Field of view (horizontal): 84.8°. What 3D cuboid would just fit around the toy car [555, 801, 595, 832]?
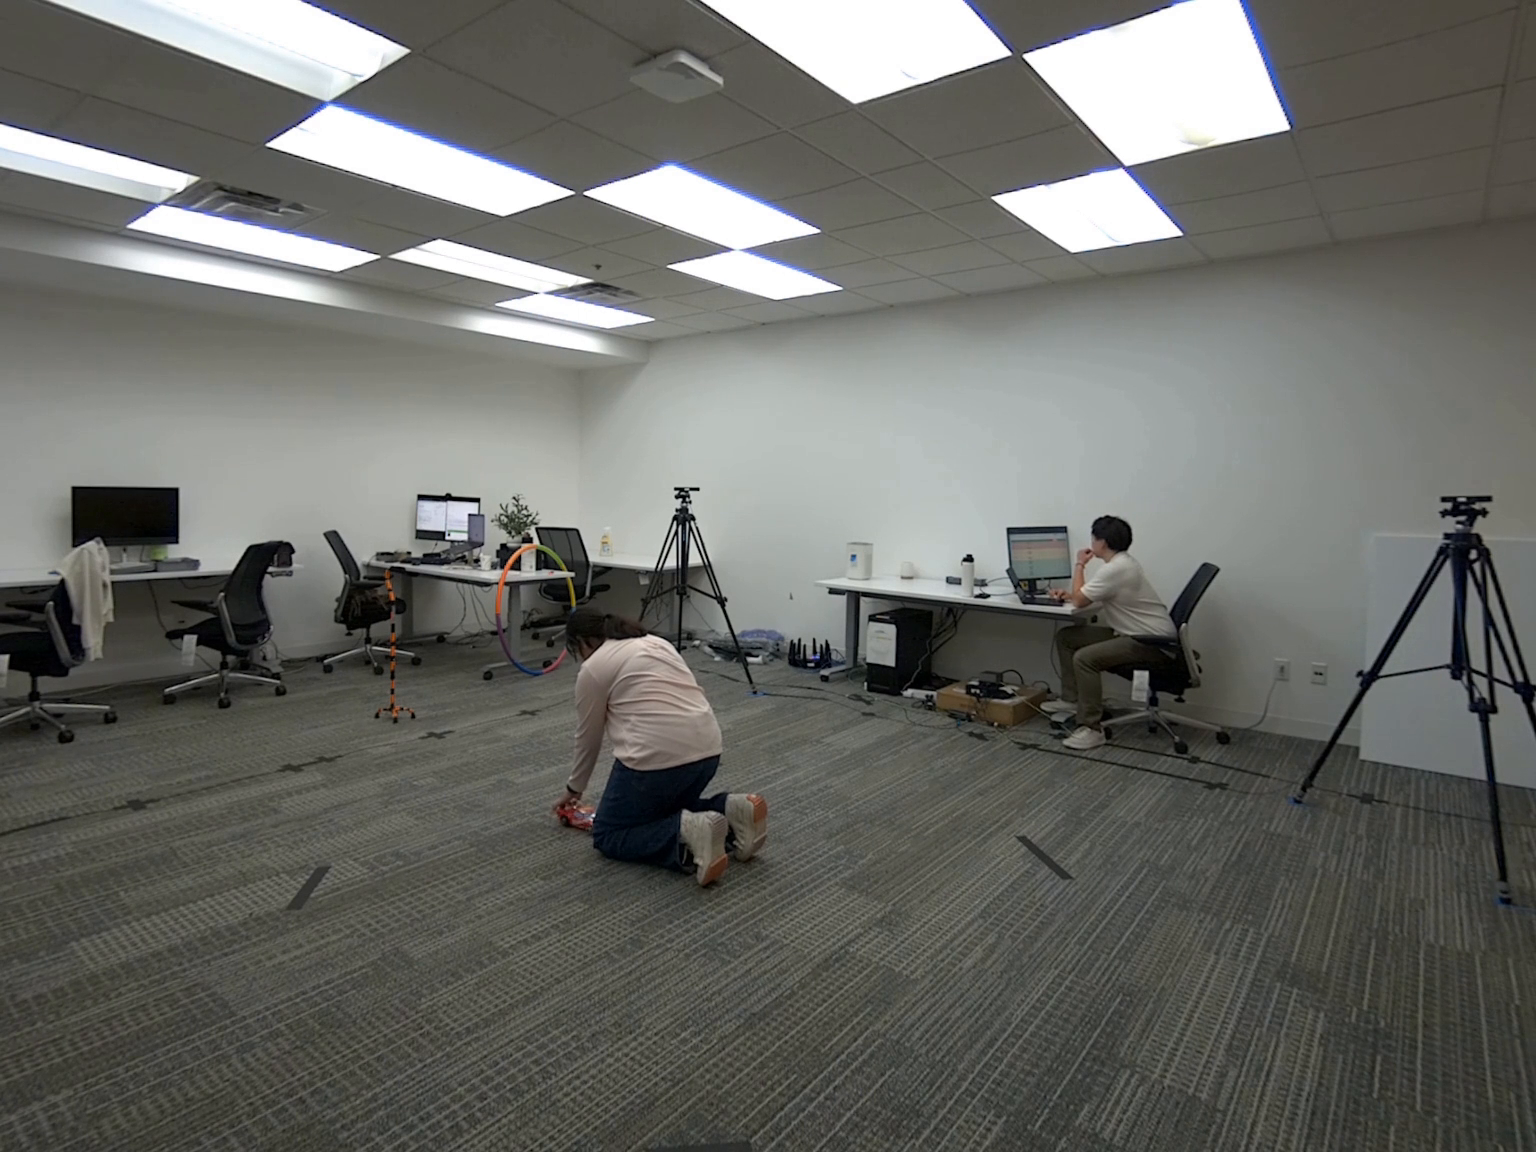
[{"bbox_3d":[-0.769,0.991,3.491,0.264,0.082,0.127,17,14,32],"label":"toy car"}]
